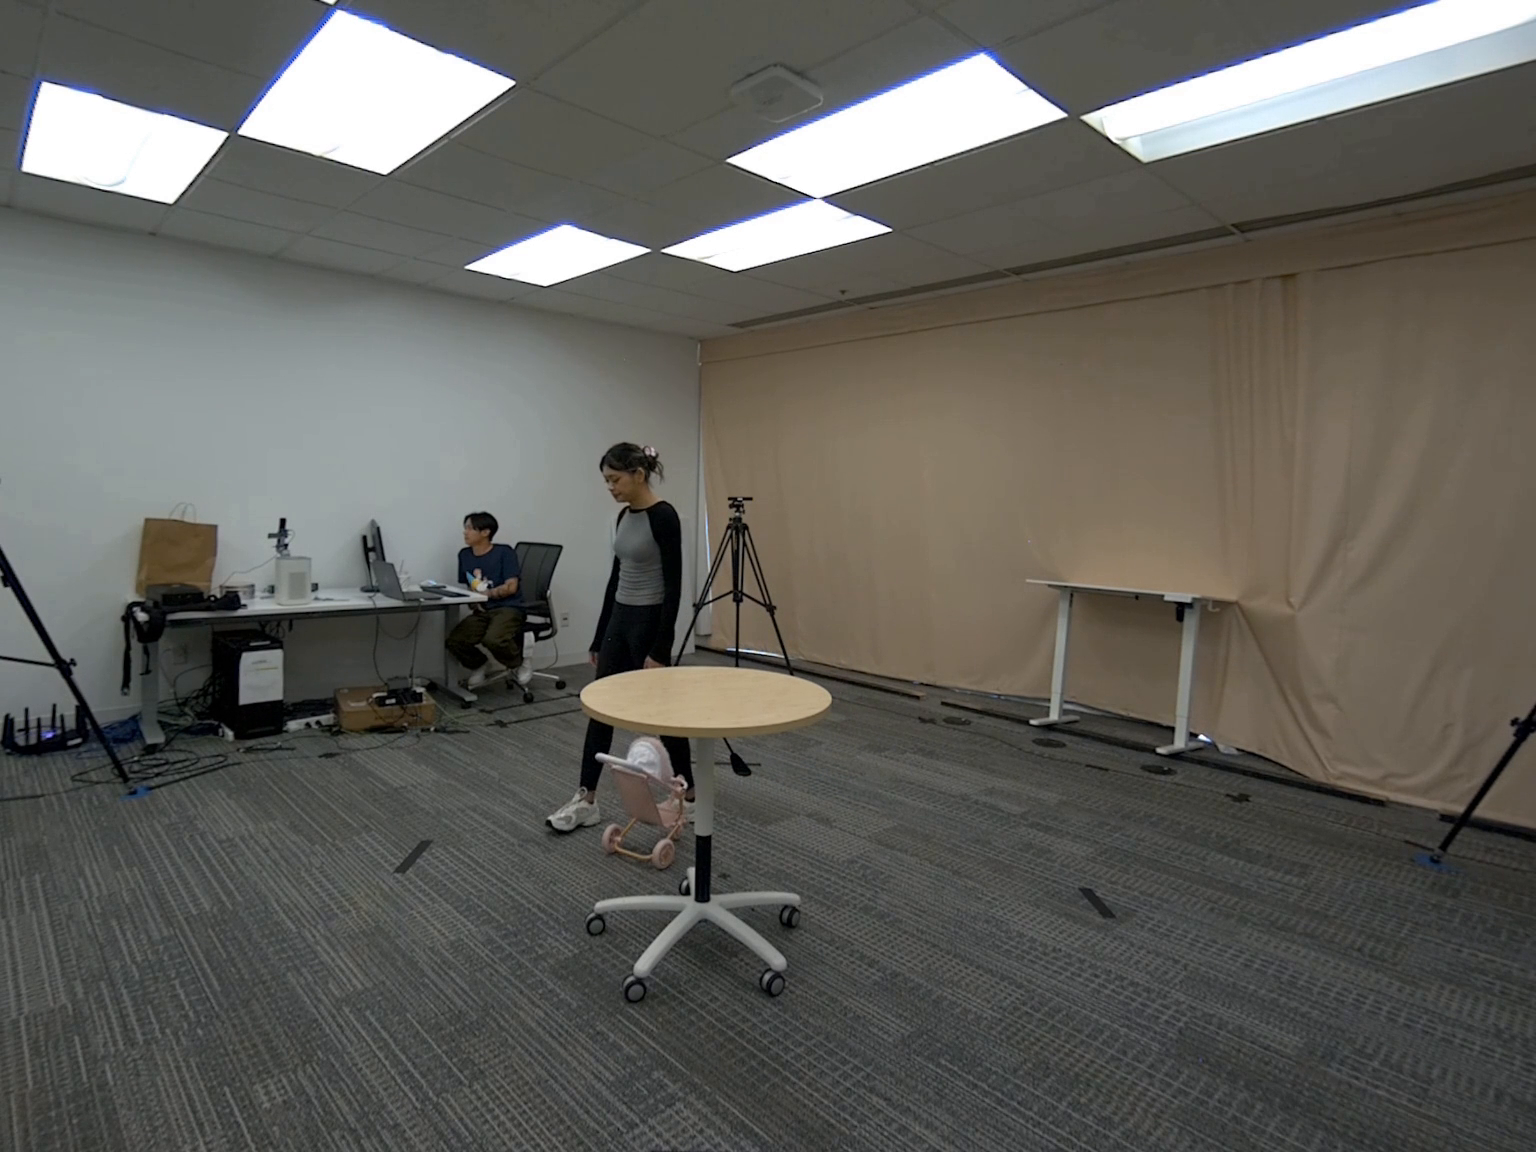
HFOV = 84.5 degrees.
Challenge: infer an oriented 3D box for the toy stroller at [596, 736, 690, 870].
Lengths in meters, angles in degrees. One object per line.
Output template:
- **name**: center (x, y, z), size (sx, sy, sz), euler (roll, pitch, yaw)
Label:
- **toy stroller**: center (-0.464, 0.859, 3.264), size (0.288, 0.528, 0.337), euler (5, 20, 35)
